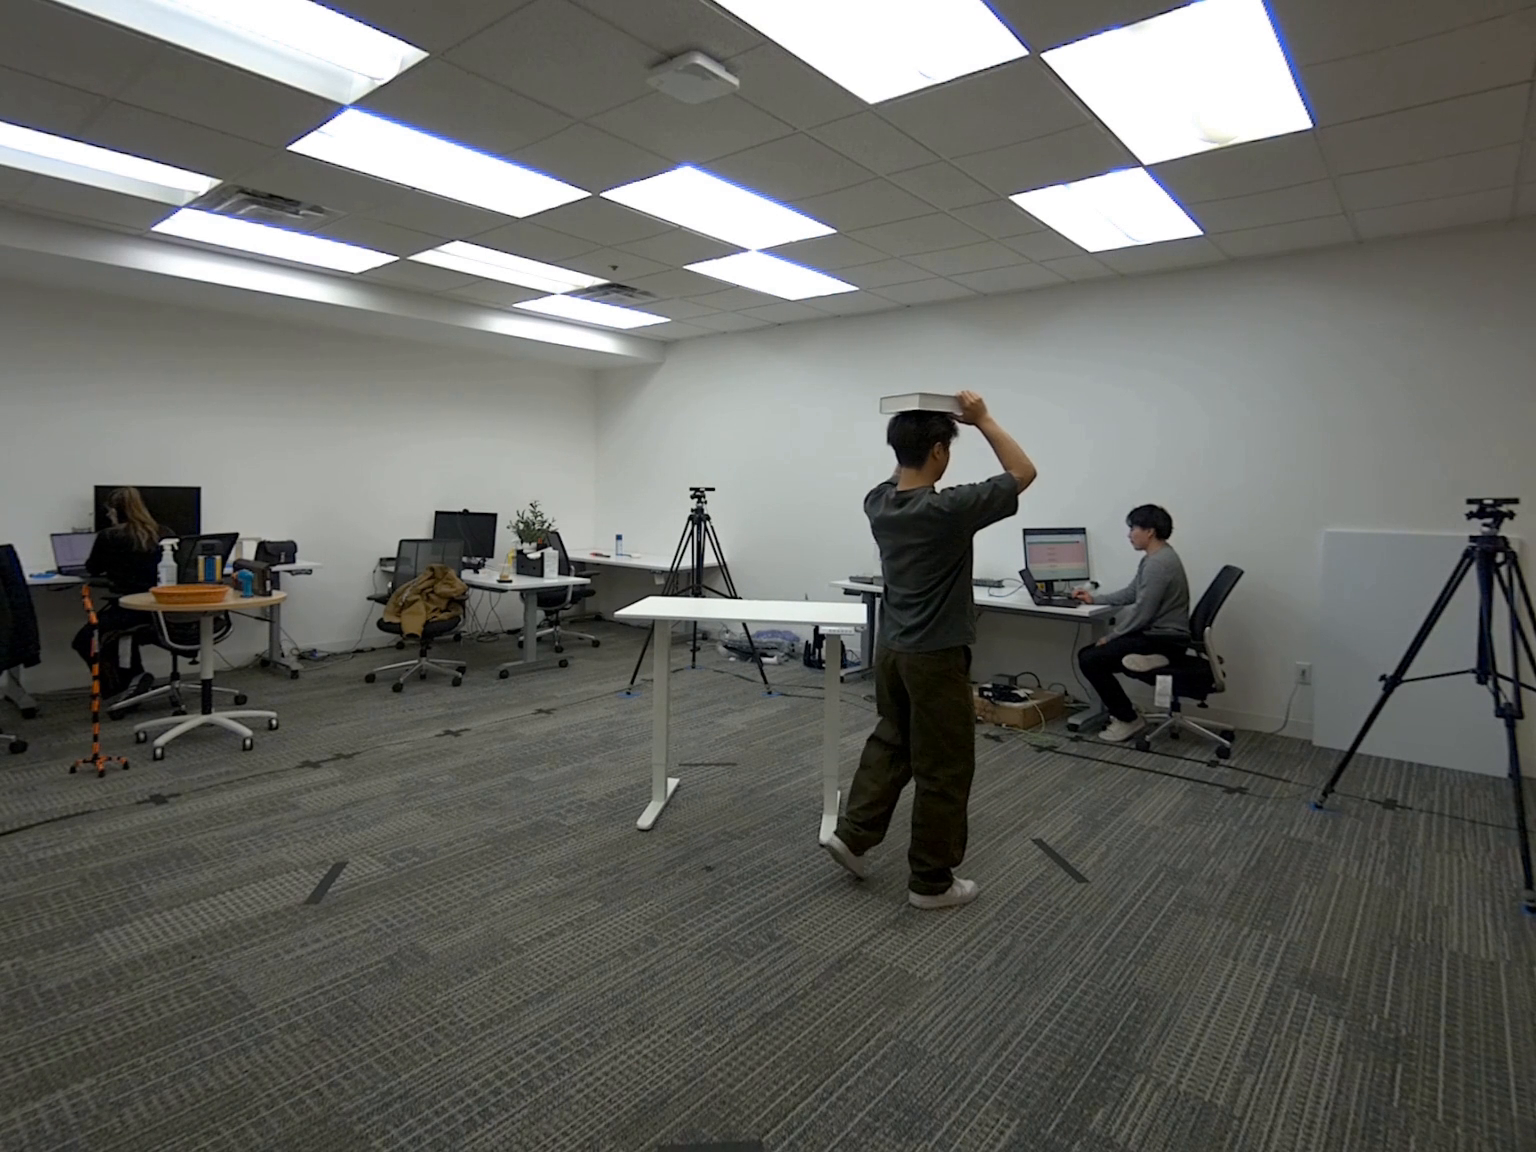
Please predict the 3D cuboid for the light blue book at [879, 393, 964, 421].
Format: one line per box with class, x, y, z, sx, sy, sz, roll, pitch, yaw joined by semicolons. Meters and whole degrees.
light blue book;0.532;-0.584;2.889;0.254;0.059;0.197;-2;7;-30
